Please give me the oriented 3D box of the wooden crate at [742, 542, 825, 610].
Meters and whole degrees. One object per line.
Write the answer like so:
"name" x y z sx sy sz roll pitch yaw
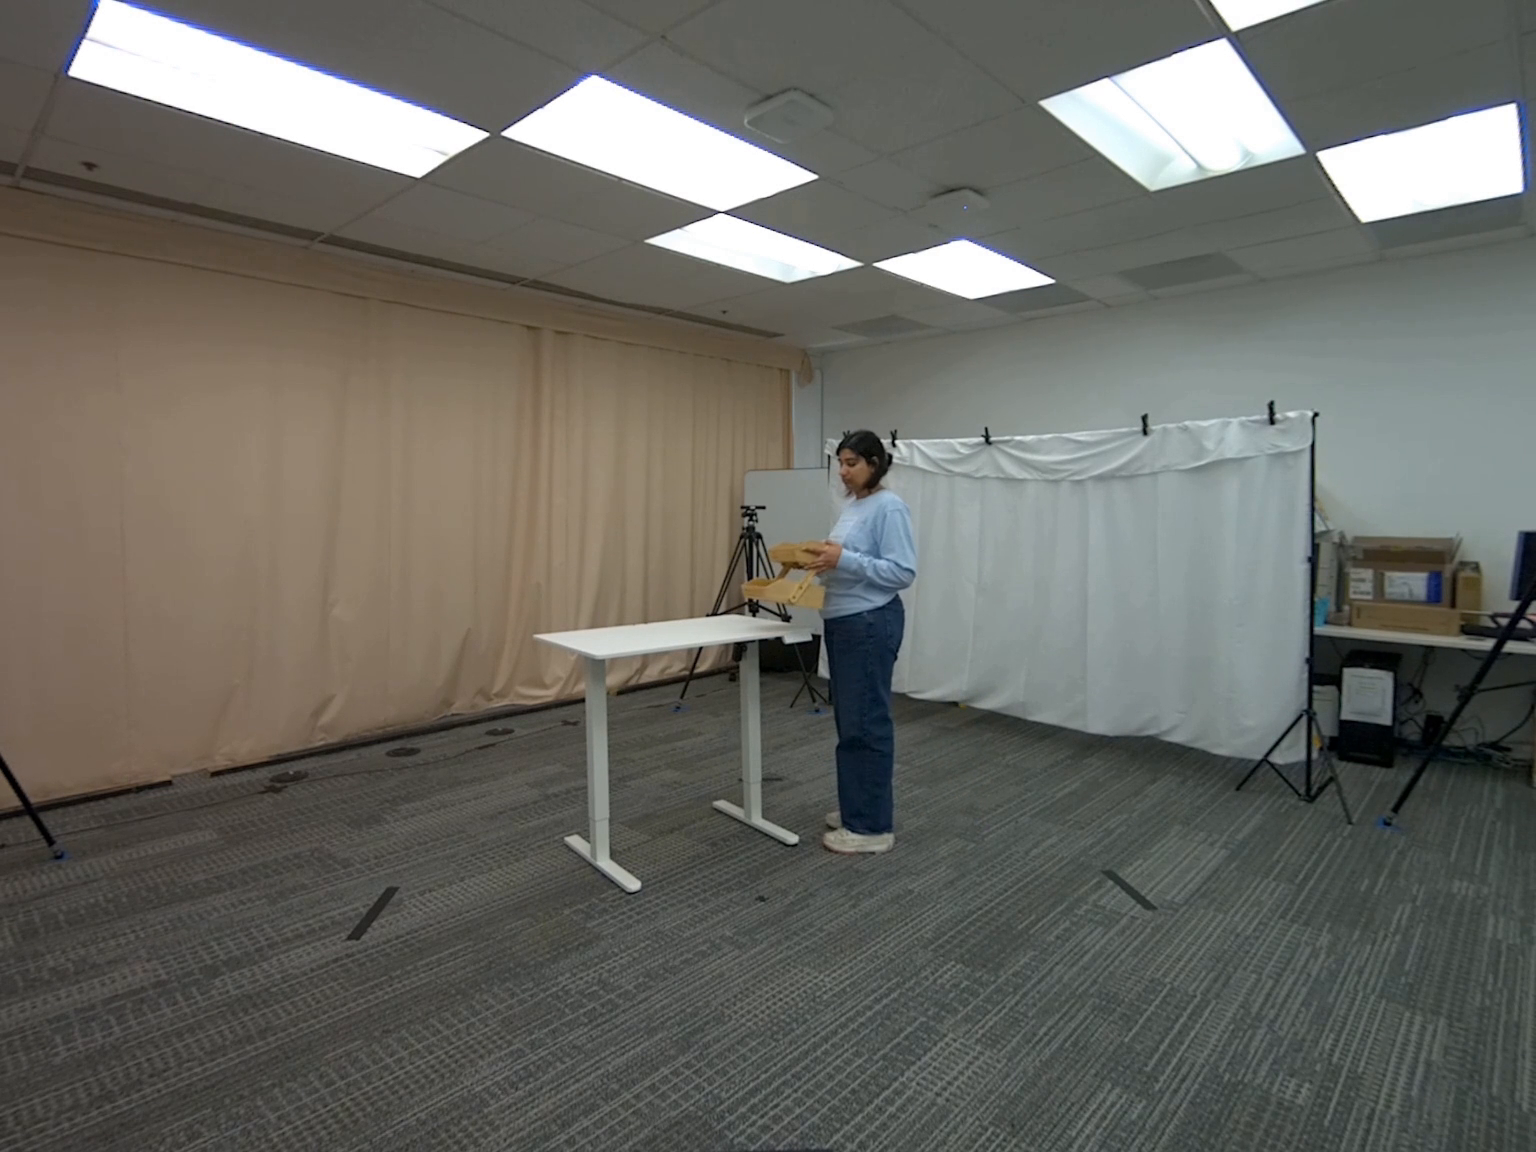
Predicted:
"wooden crate" 0.111 -0.015 3.450 0.296 0.274 0.330 11 -4 -18
